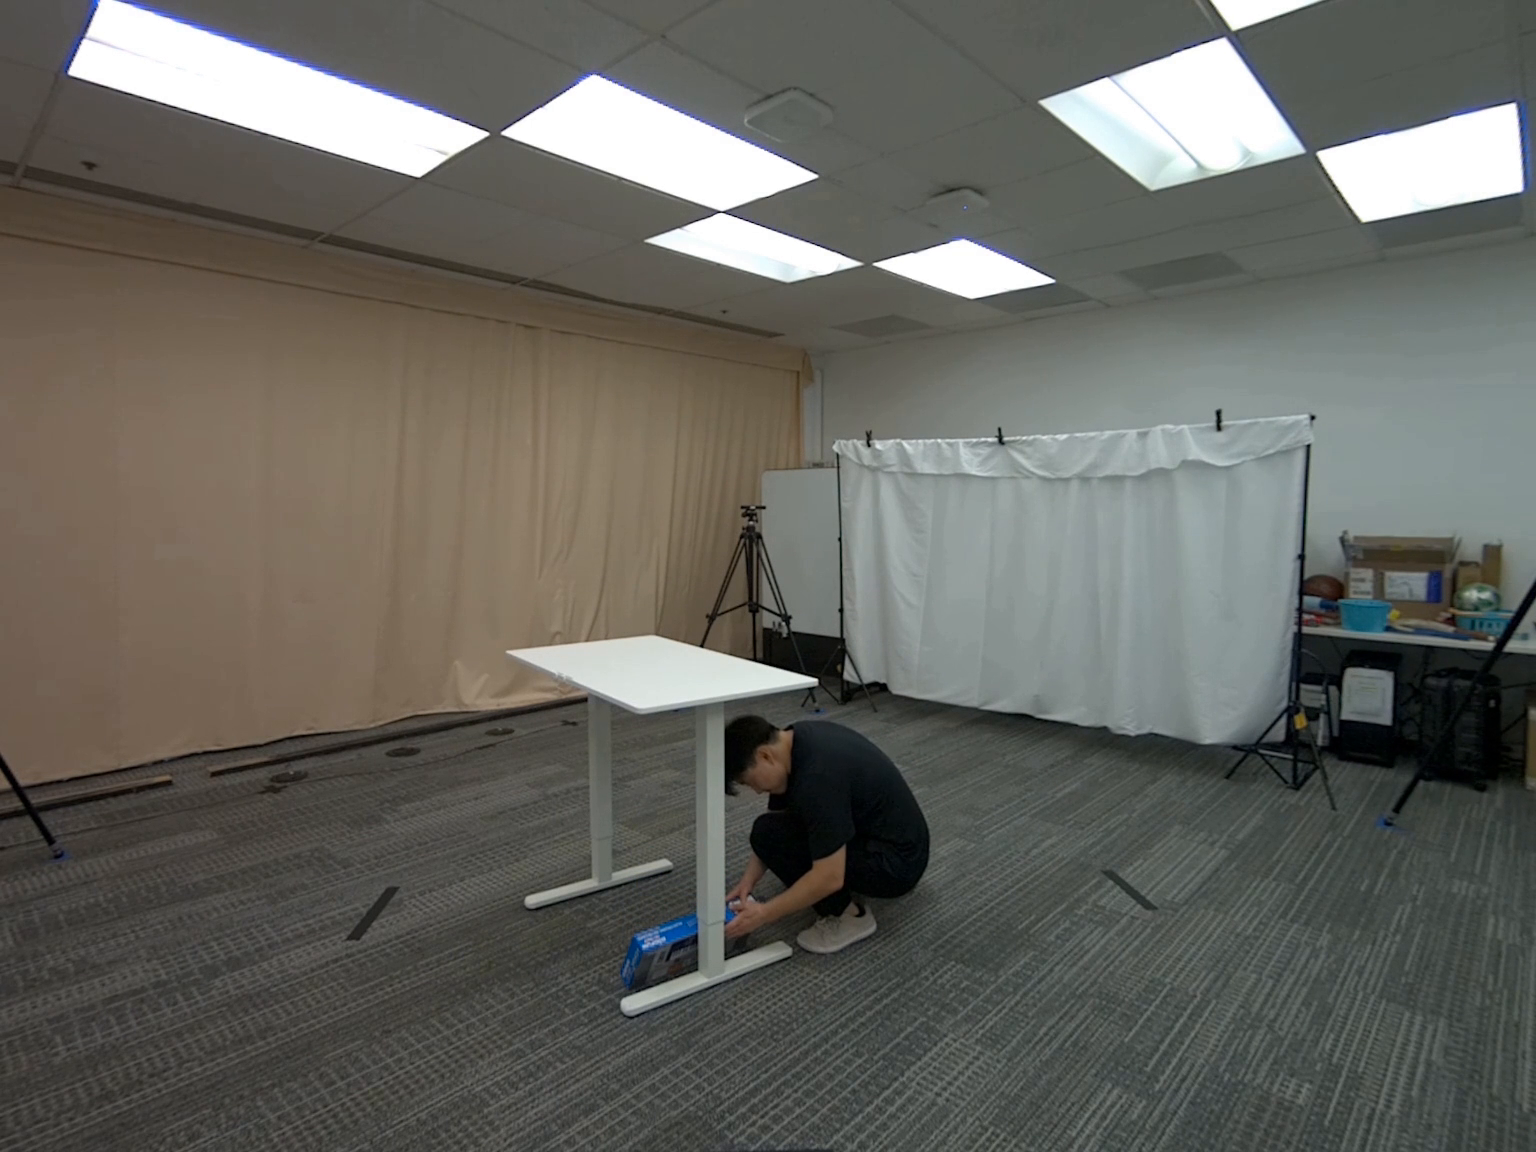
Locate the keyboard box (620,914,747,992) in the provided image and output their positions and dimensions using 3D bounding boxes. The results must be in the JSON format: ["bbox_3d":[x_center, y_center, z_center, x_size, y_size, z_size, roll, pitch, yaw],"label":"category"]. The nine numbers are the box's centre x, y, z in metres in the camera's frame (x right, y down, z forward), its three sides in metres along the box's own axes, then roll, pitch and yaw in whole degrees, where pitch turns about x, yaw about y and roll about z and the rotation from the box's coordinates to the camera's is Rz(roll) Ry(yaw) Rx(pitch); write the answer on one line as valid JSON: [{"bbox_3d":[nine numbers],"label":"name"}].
[{"bbox_3d":[-0.224,1.106,2.530,0.424,0.175,0.061,-2,32,-38],"label":"keyboard box"}]
